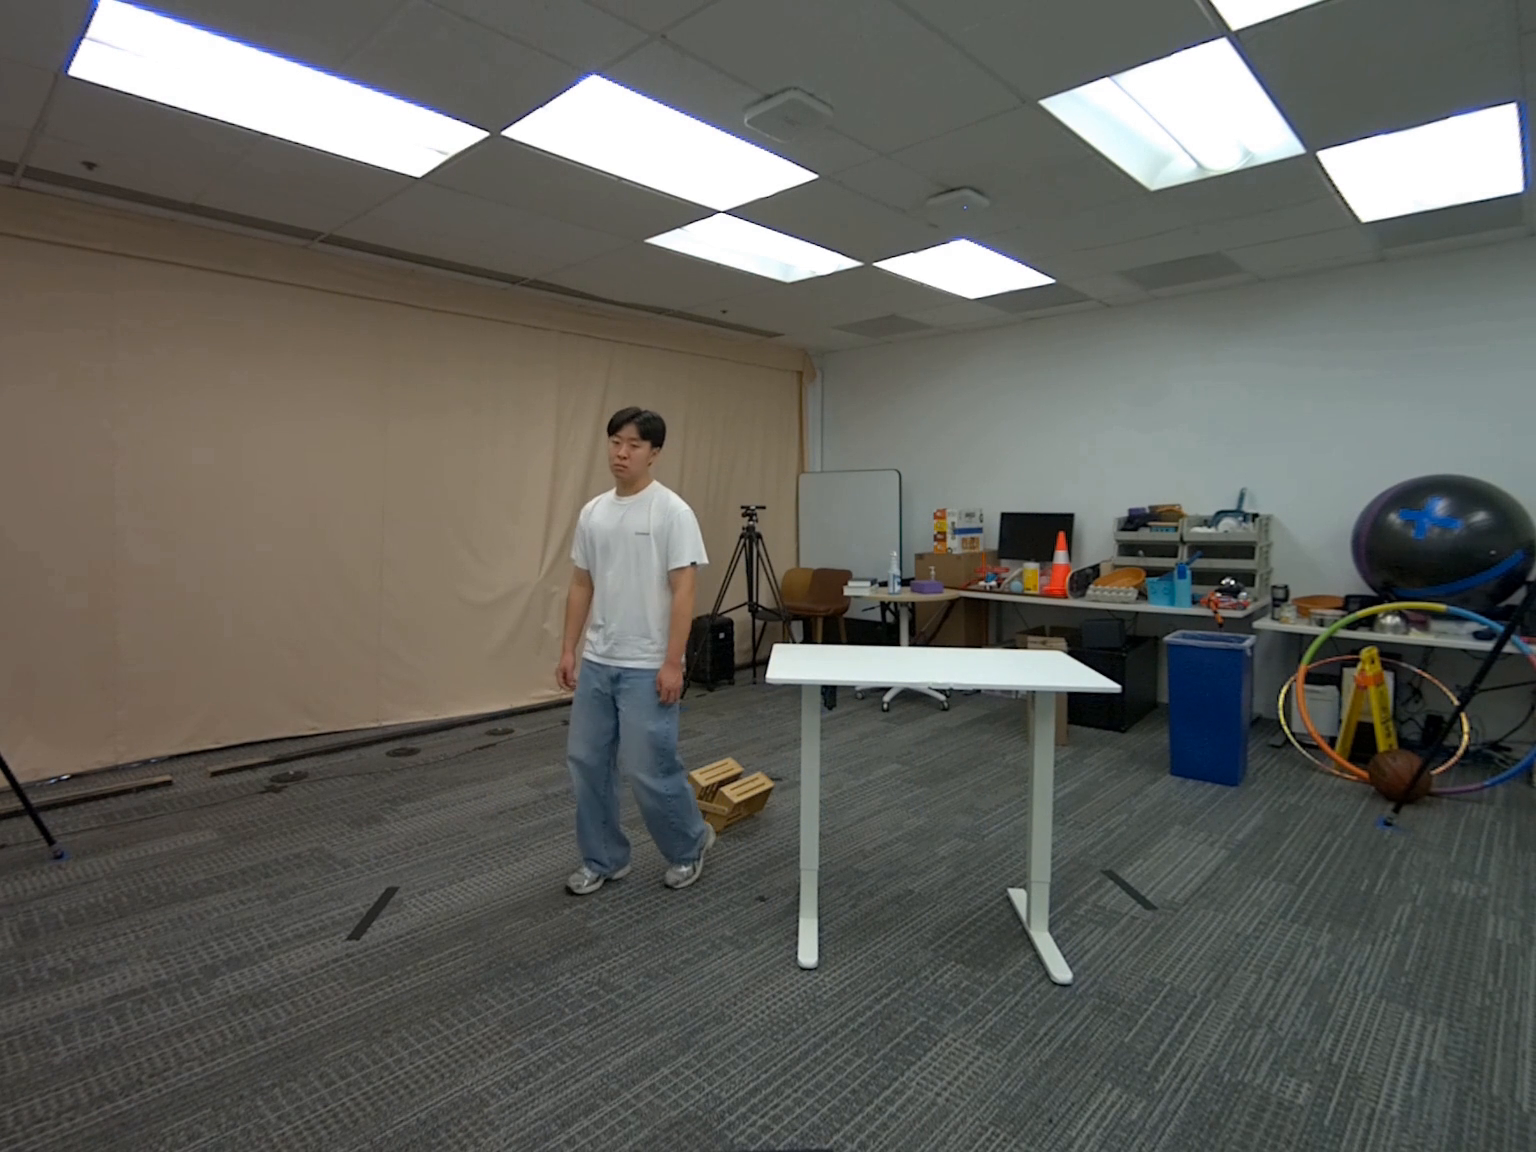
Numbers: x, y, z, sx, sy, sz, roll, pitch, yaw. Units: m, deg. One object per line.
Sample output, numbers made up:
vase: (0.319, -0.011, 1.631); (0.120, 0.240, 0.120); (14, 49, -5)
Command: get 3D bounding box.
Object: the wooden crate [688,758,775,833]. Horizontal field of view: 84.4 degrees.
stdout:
wooden crate: (-0.200, 0.994, 3.714); (0.282, 0.301, 0.315); (35, 23, 30)
